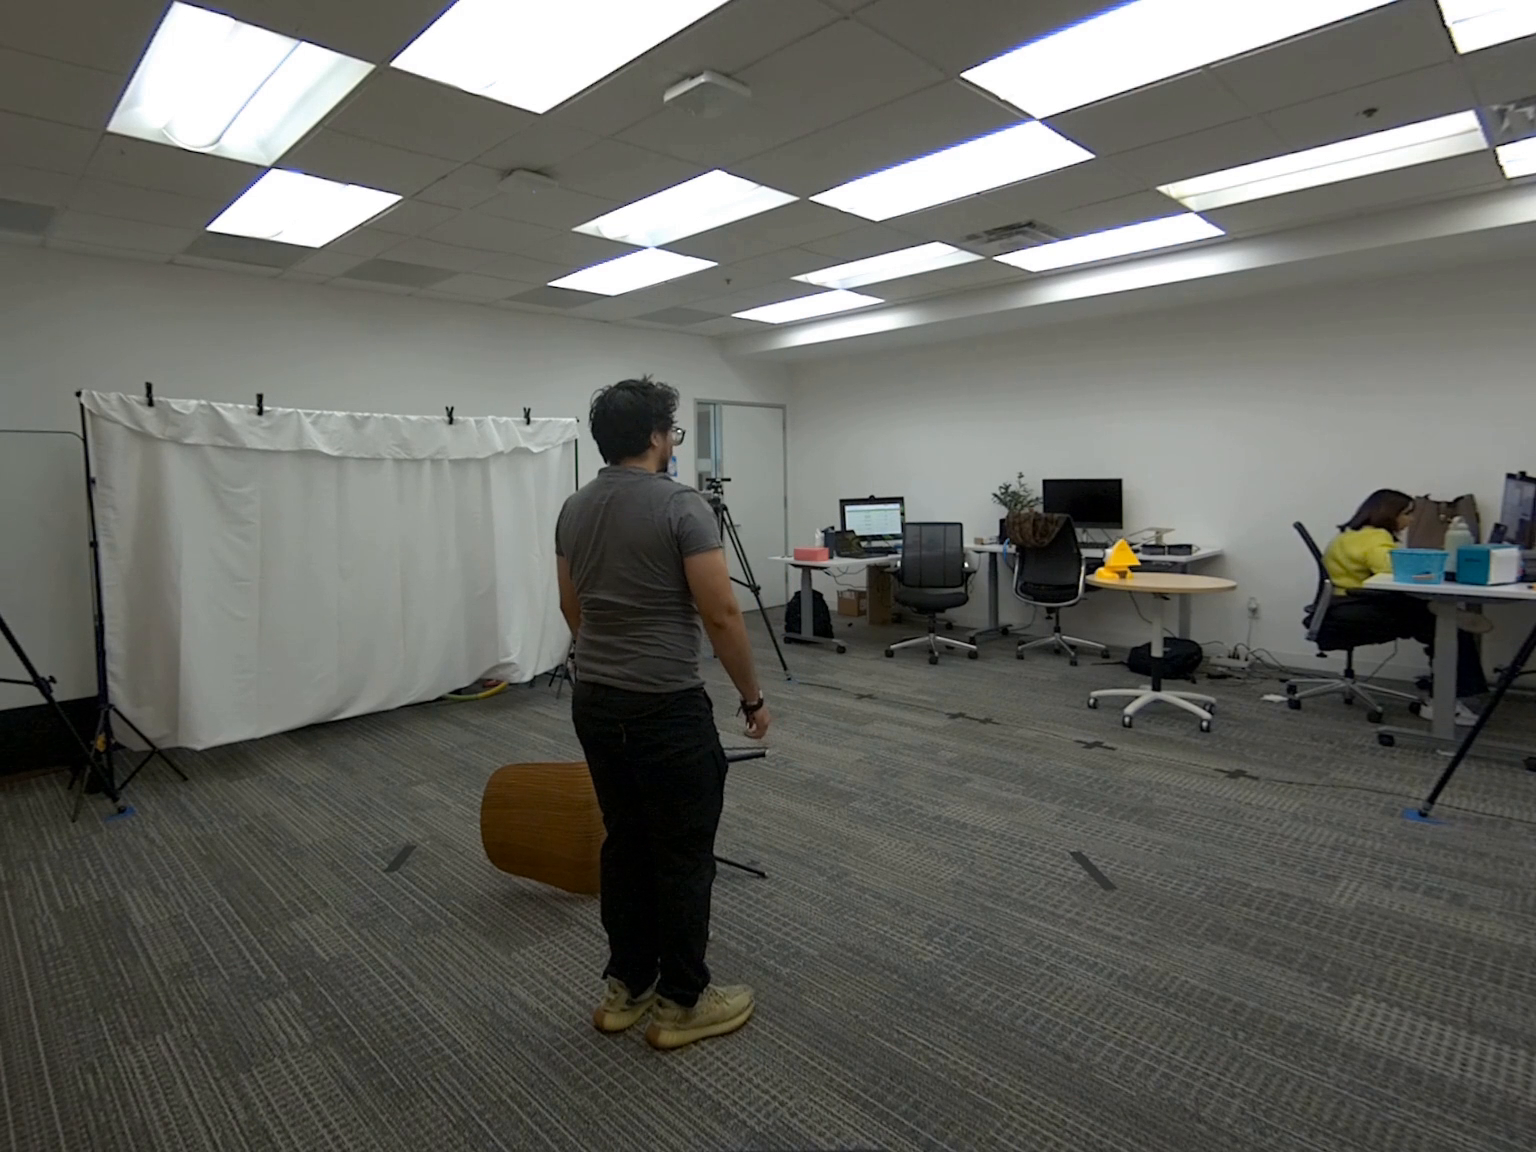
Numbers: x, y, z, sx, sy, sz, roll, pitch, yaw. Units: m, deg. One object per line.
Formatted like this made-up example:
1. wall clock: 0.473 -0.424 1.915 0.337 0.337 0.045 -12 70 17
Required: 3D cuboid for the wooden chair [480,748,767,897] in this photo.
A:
1. wooden chair: -0.480 0.831 2.966 0.895 0.475 0.516 2 7 21
